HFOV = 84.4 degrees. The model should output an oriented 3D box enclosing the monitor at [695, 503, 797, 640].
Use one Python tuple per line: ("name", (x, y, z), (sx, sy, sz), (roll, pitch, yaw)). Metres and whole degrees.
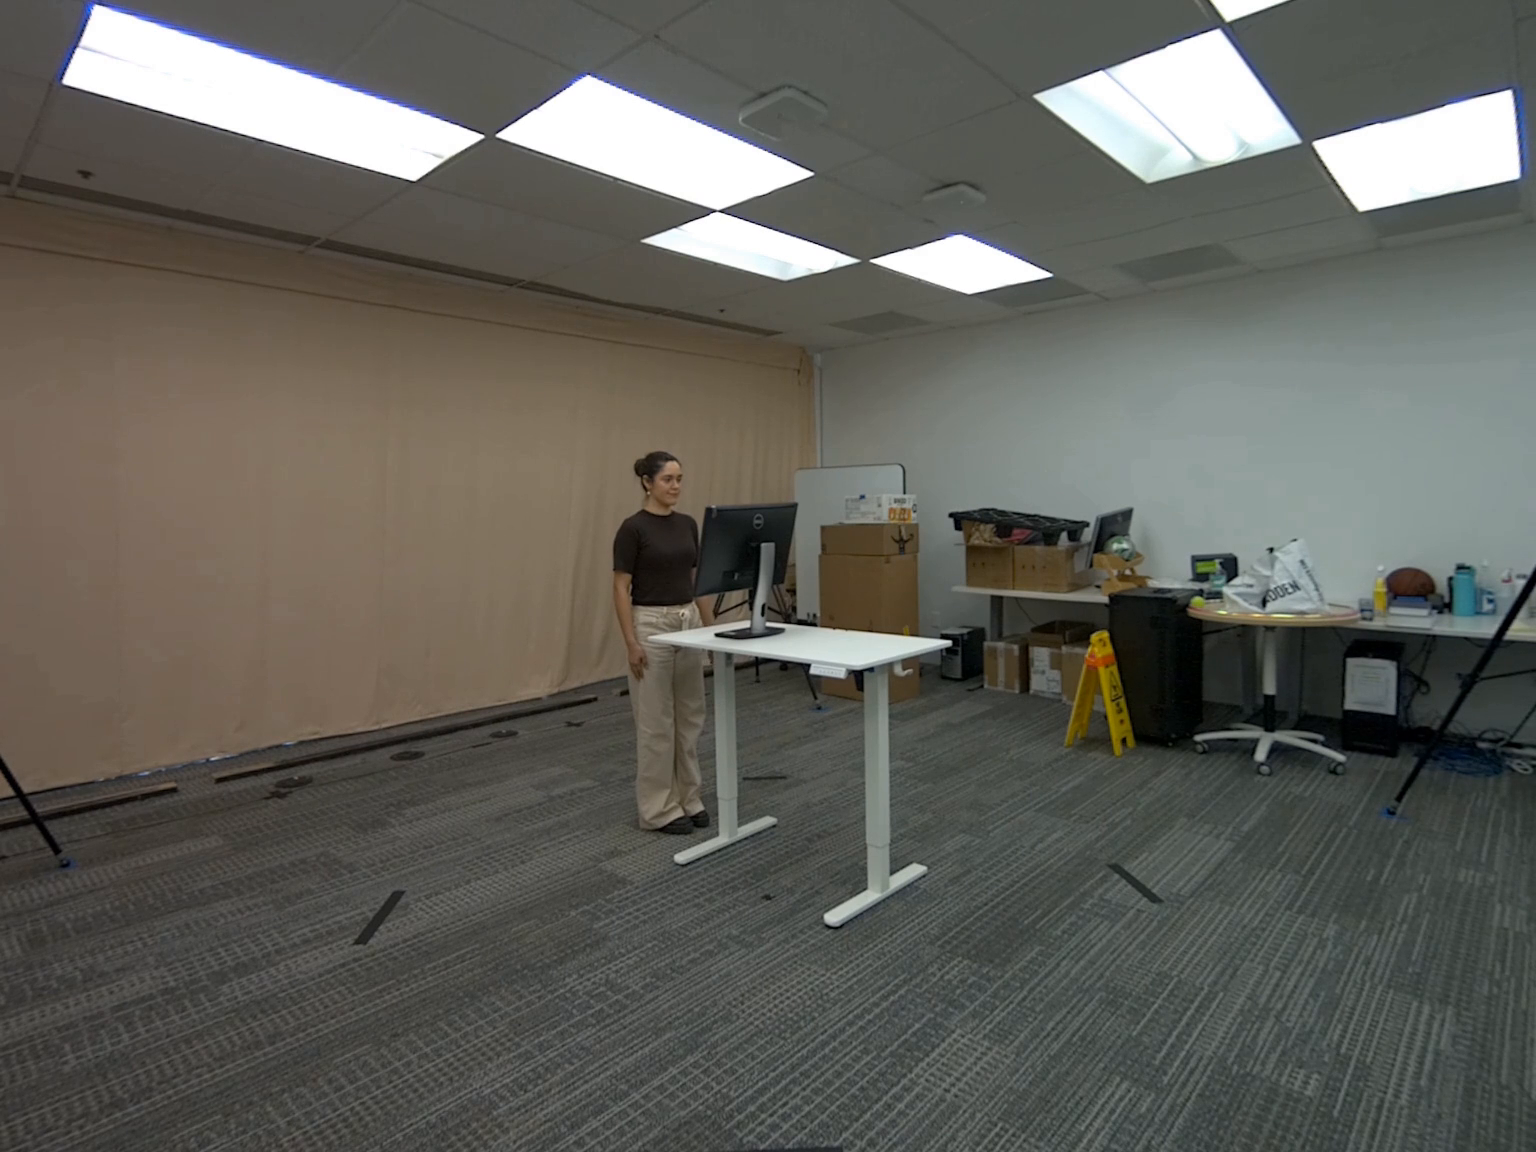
("monitor", (-0.056, -0.020, 3.306), (0.193, 0.521, 0.523), (5, 8, 40))
